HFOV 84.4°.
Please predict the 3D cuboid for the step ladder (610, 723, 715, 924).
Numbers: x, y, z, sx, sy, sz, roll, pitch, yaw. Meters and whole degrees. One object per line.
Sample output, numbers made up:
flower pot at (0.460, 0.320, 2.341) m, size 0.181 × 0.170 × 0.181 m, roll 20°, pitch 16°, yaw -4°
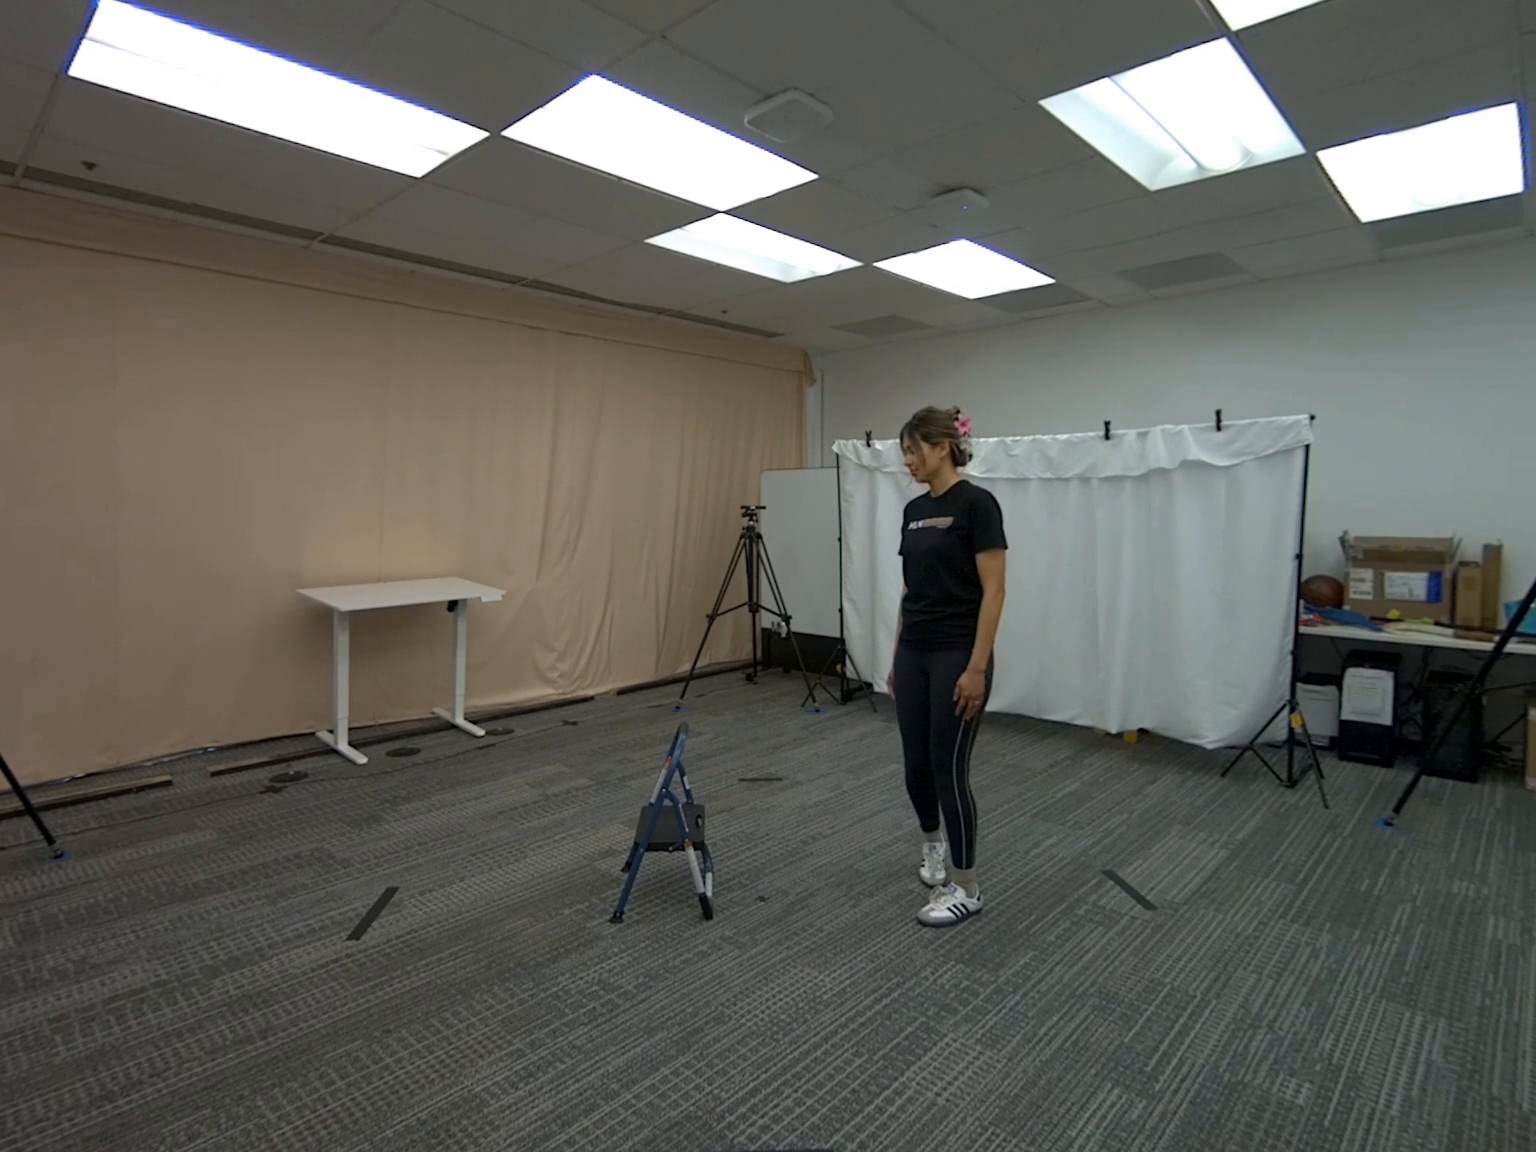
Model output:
step ladder at (-0.371, 0.846, 3.018) m, size 0.349 × 0.604 × 0.432 m, roll -1°, pitch 4°, yaw -3°
